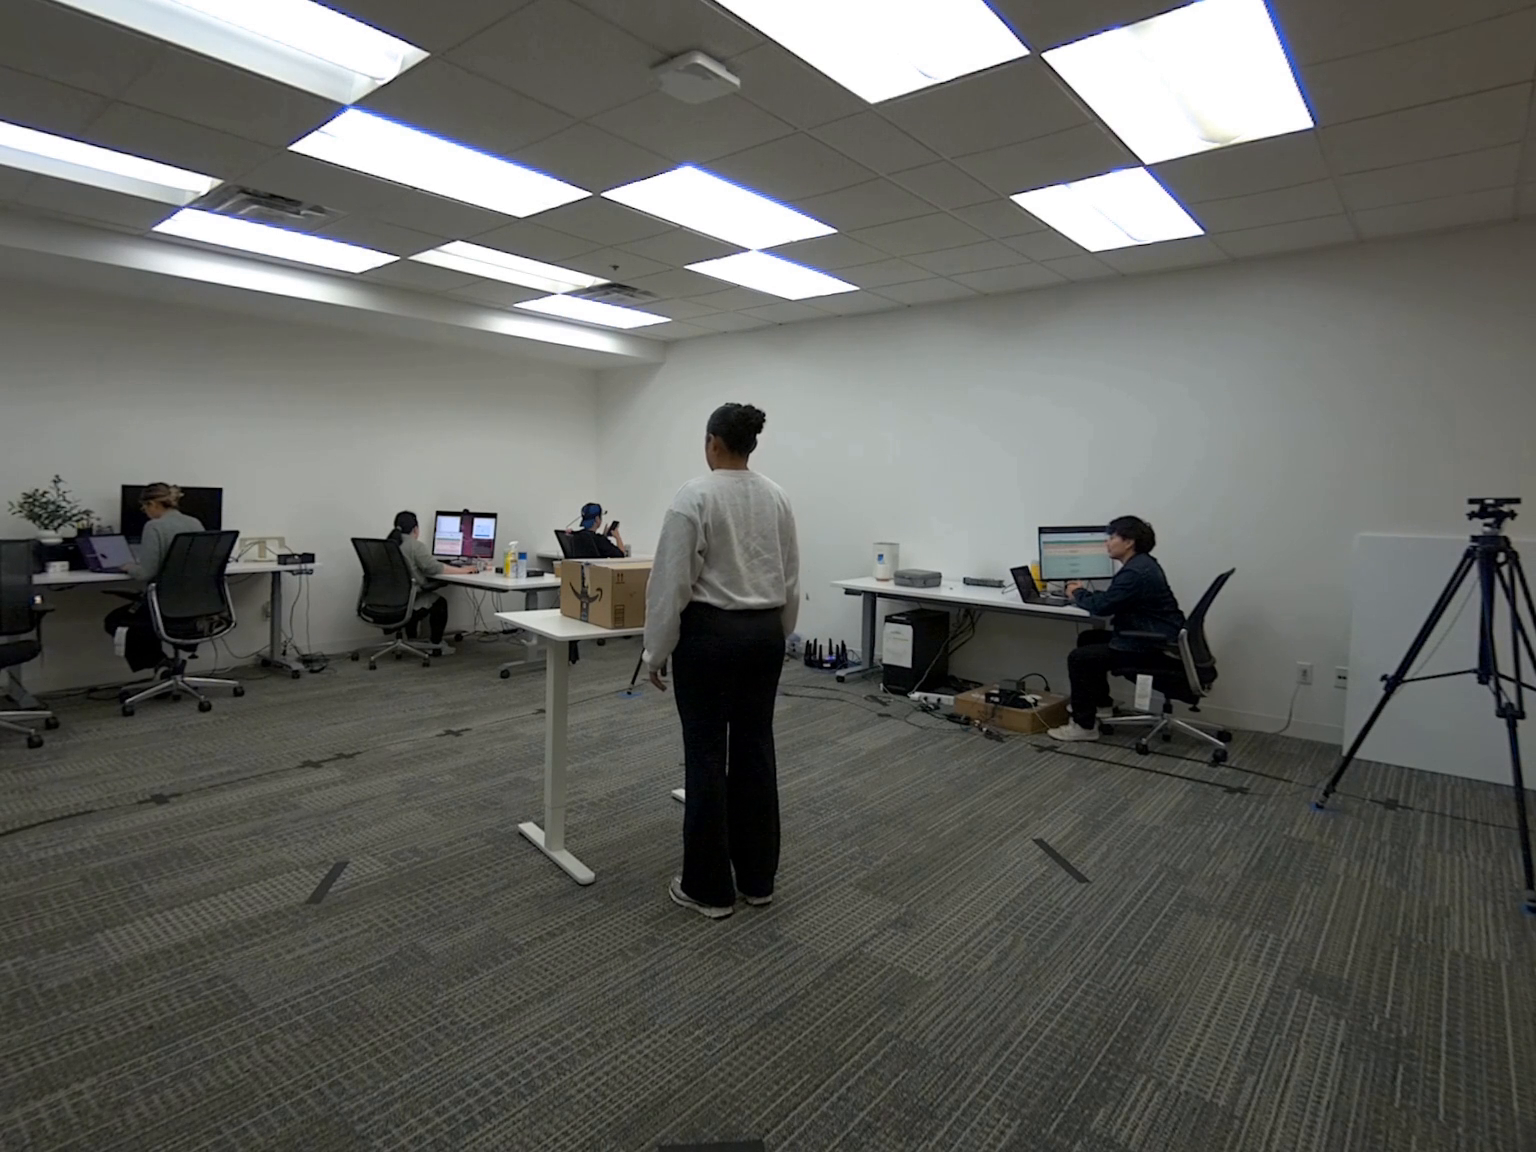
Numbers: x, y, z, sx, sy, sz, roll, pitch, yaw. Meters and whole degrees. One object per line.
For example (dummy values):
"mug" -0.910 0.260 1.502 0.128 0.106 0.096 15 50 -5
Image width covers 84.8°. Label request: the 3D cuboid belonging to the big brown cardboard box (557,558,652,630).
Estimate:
"big brown cardboard box" -0.473 0.048 3.319 0.572 0.232 0.432 -4 7 -38
